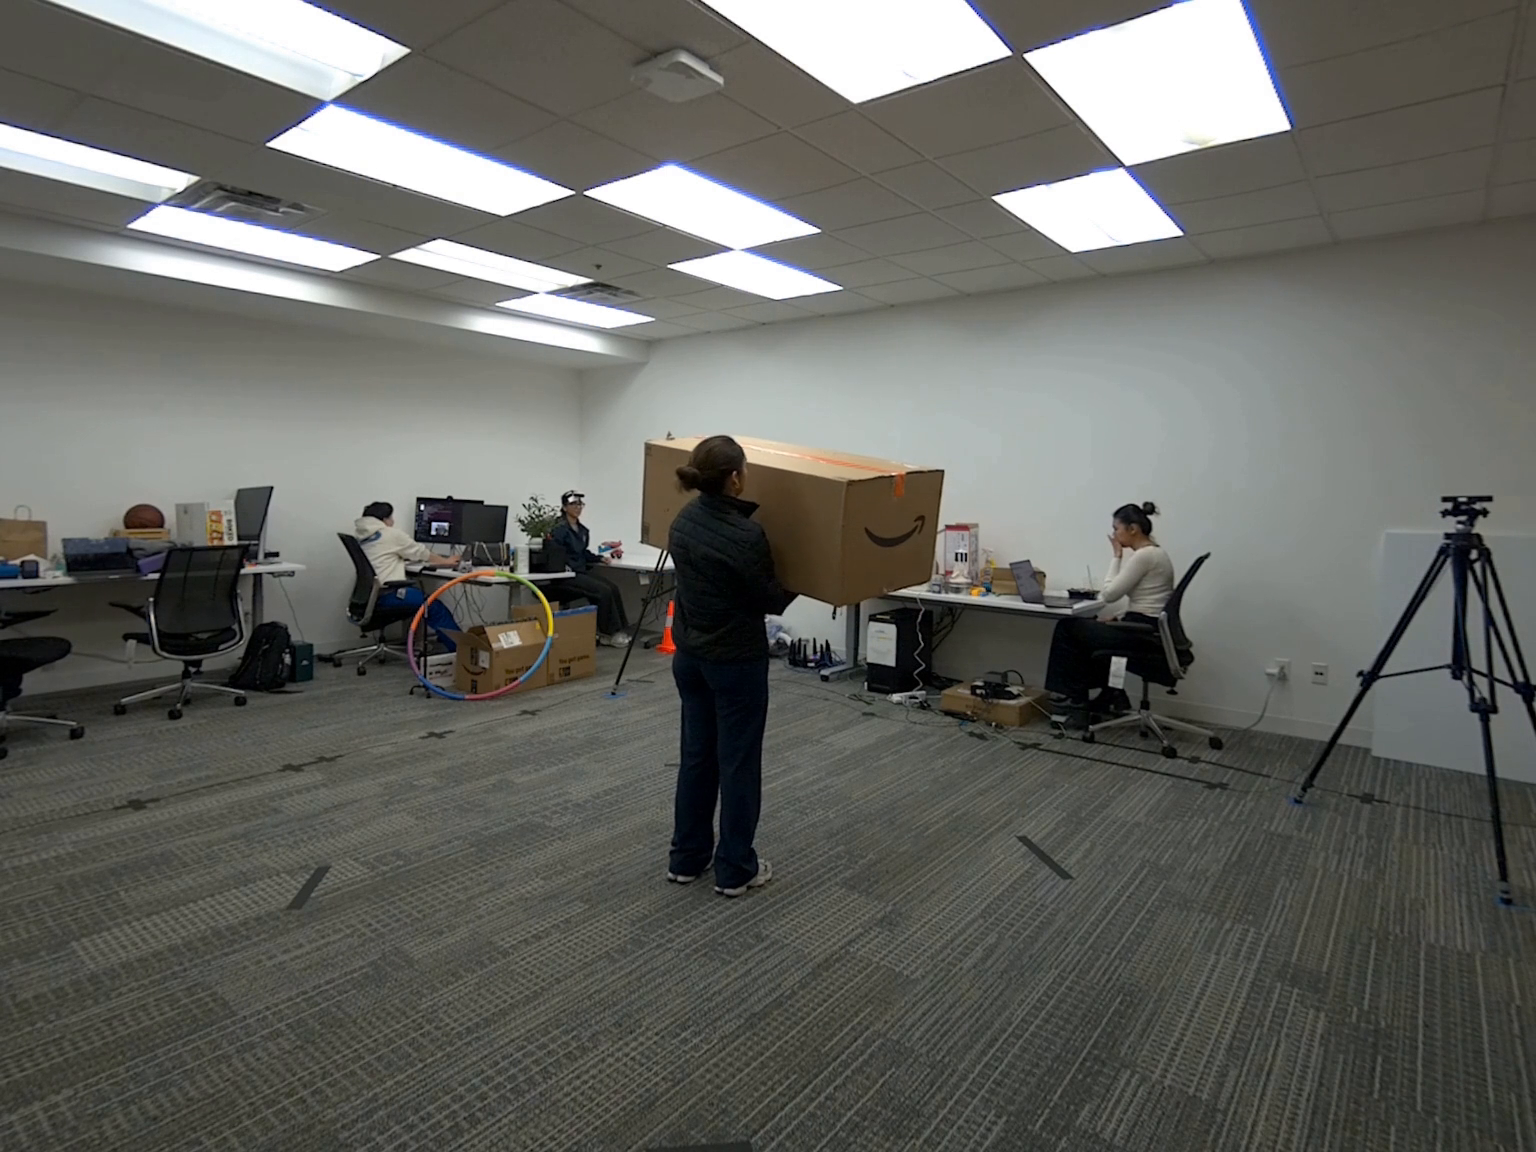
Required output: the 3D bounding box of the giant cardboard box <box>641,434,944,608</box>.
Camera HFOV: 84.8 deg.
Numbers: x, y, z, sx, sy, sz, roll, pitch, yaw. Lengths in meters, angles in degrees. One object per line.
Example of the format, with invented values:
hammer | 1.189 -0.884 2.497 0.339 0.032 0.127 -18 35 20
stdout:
giant cardboard box | 0.070 -0.262 3.285 1.066 0.421 0.562 17 19 42
